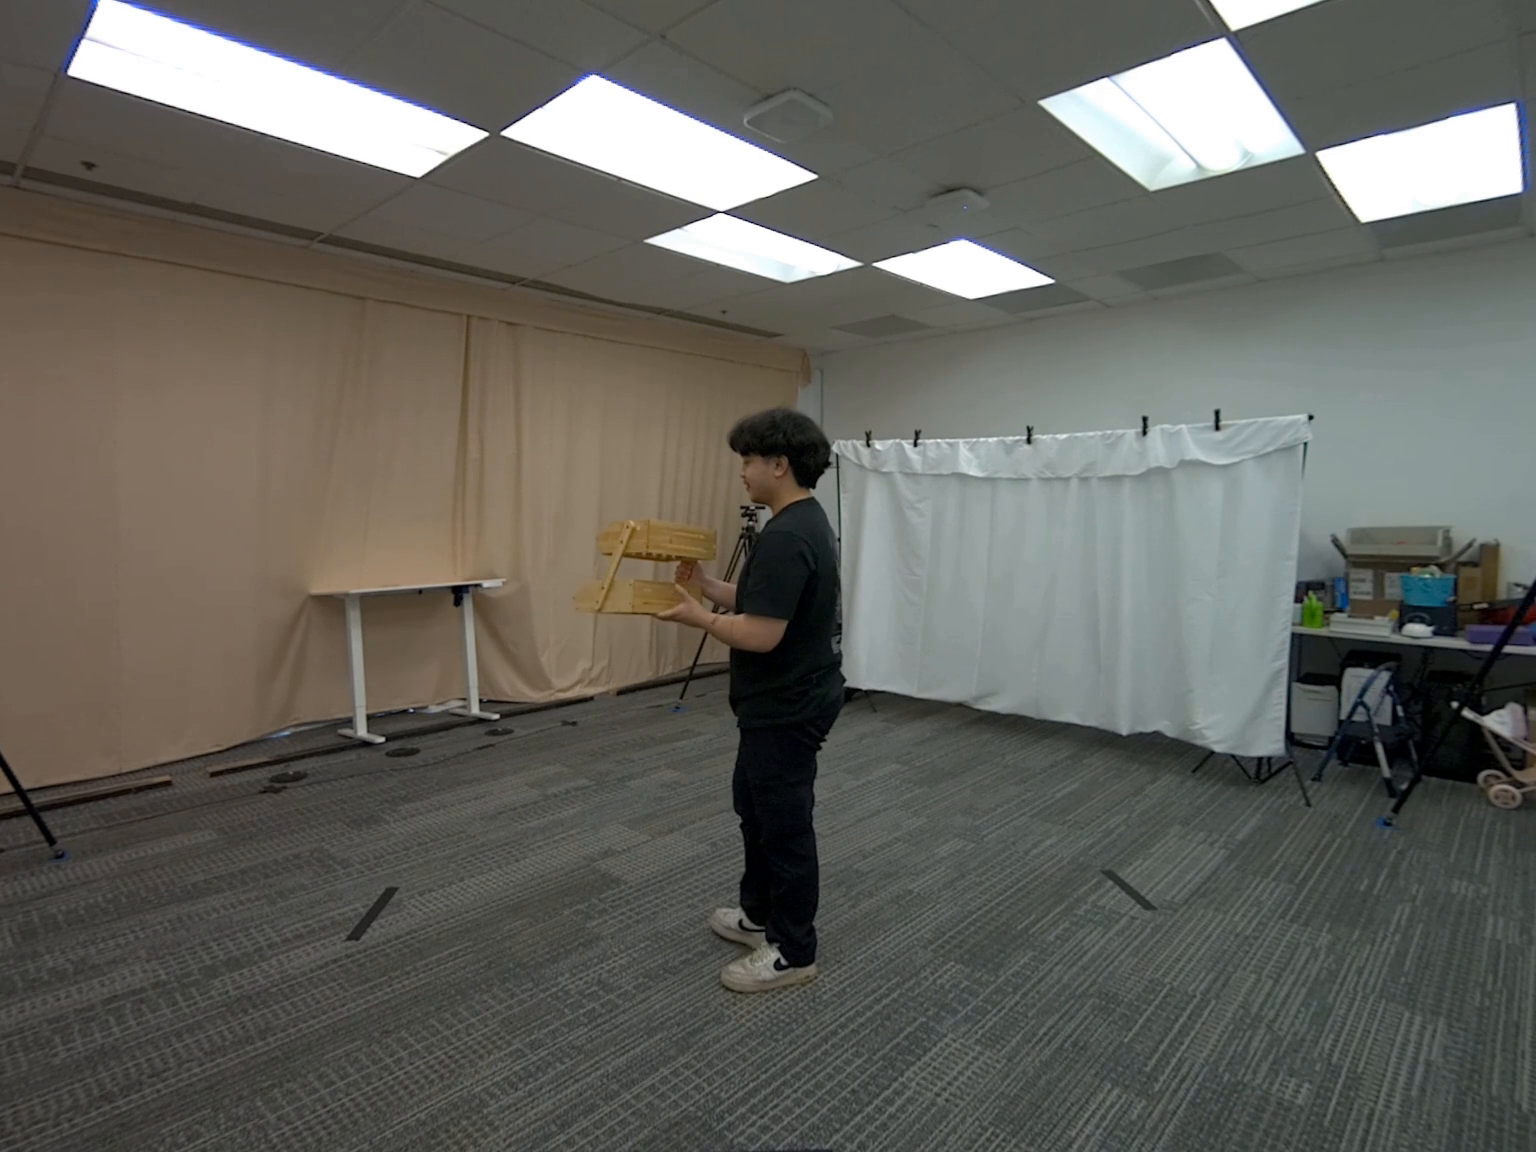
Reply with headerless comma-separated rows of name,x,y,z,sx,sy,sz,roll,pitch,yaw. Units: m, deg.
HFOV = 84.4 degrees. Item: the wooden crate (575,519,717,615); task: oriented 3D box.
wooden crate,-0.362,-0.020,2.528,0.311,0.274,0.313,-2,-6,38
